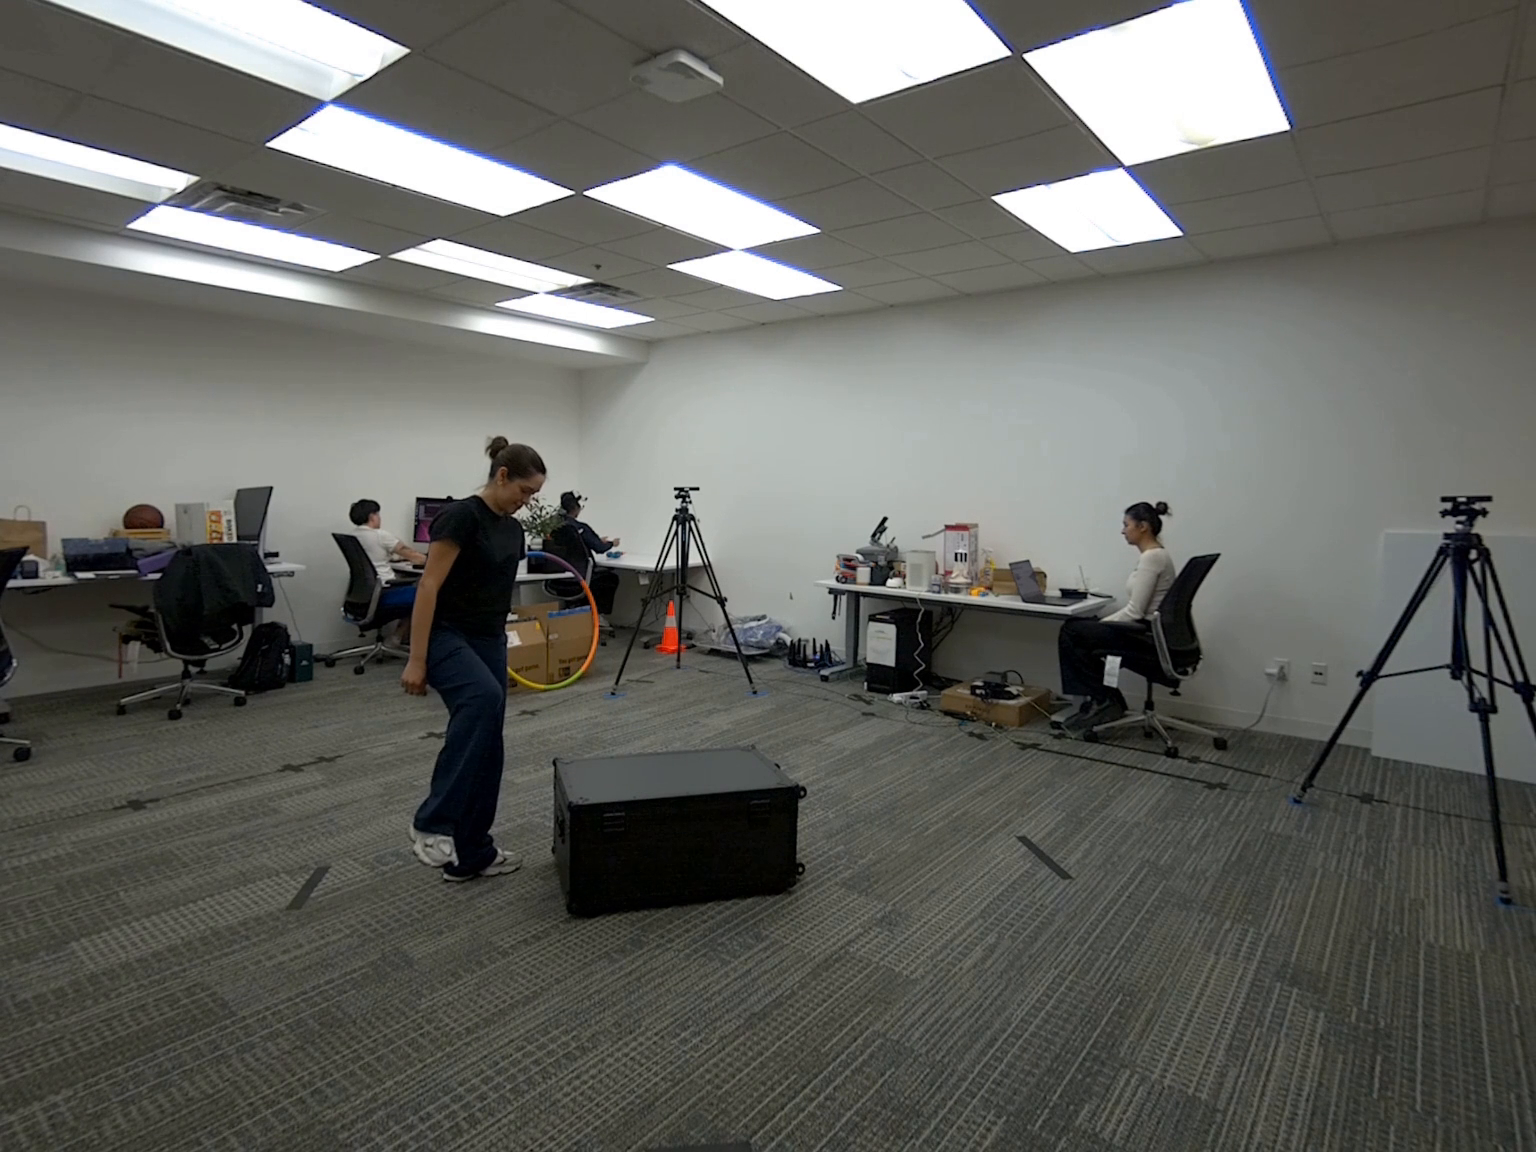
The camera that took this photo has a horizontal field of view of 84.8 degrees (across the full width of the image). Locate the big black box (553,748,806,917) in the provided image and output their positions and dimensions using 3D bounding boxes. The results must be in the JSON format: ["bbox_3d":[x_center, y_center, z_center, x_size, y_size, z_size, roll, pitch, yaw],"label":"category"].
[{"bbox_3d":[-0.305,0.872,3.059,0.846,0.395,0.533,-2,5,-18],"label":"big black box"}]
